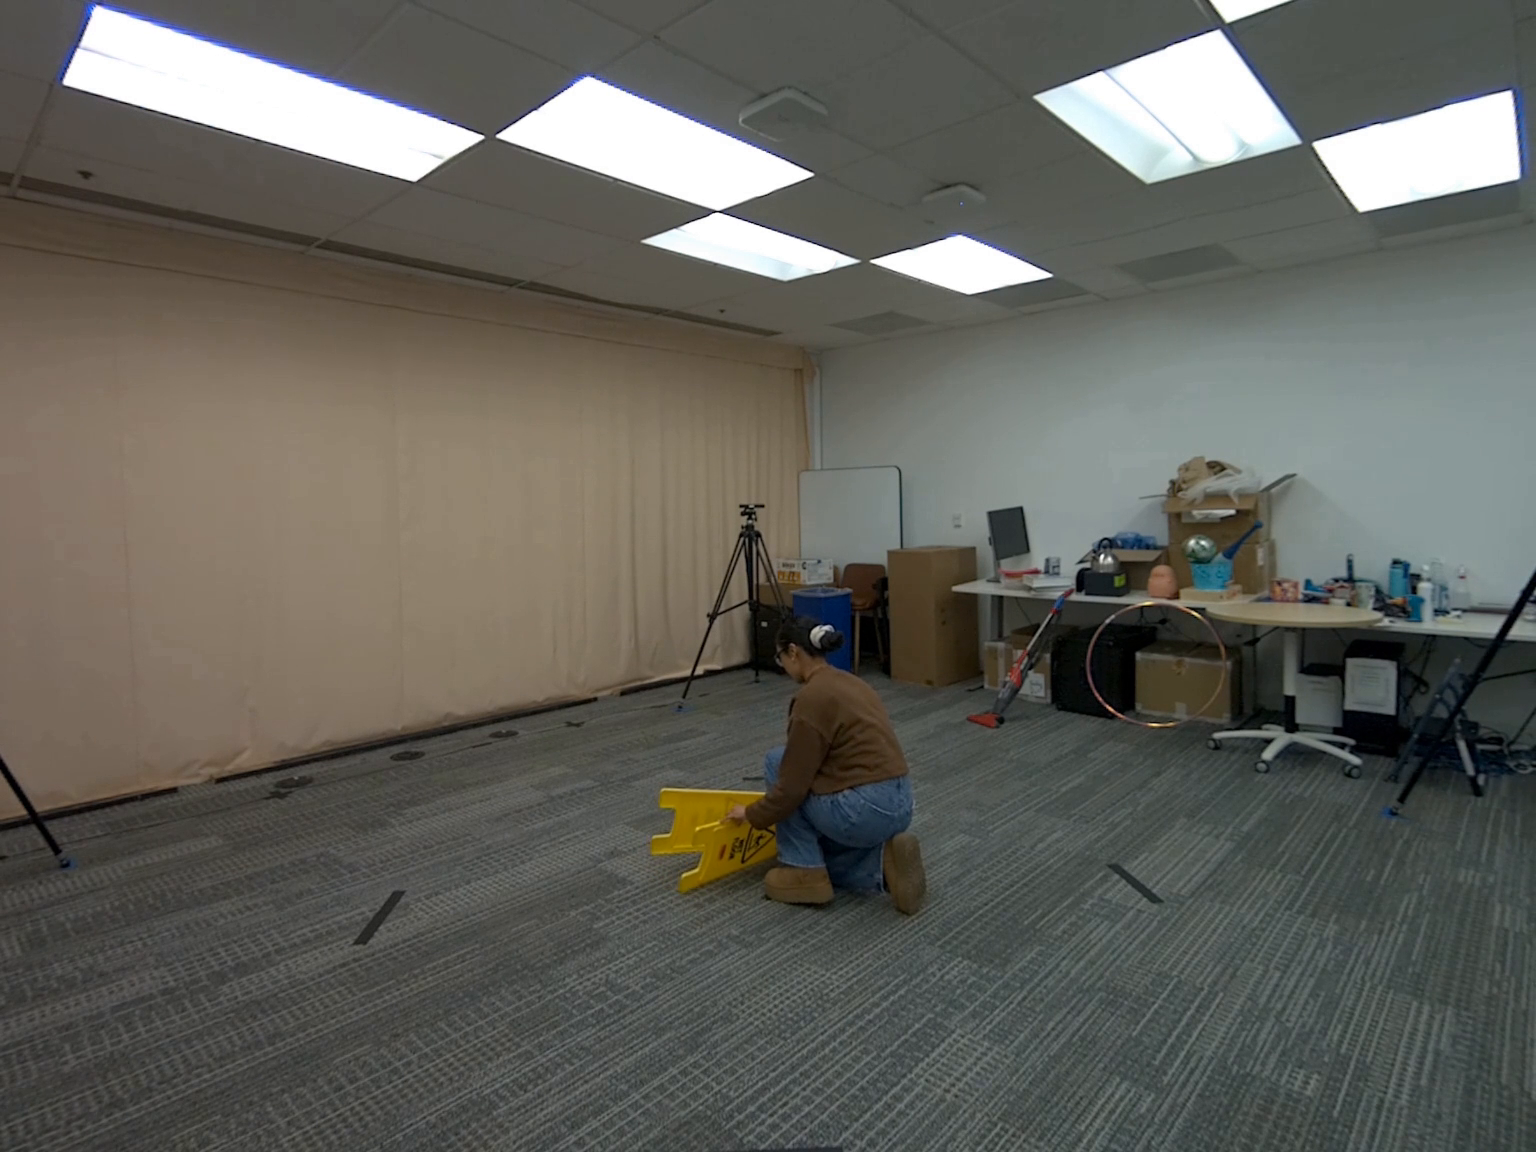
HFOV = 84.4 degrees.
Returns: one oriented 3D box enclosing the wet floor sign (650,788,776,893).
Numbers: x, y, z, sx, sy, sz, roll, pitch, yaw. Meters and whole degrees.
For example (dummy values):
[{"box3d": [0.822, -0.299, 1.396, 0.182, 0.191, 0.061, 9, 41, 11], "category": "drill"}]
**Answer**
[{"box3d": [-0.090, 0.986, 3.262, 0.628, 0.280, 0.300, 2, 16, -31], "category": "wet floor sign"}]
